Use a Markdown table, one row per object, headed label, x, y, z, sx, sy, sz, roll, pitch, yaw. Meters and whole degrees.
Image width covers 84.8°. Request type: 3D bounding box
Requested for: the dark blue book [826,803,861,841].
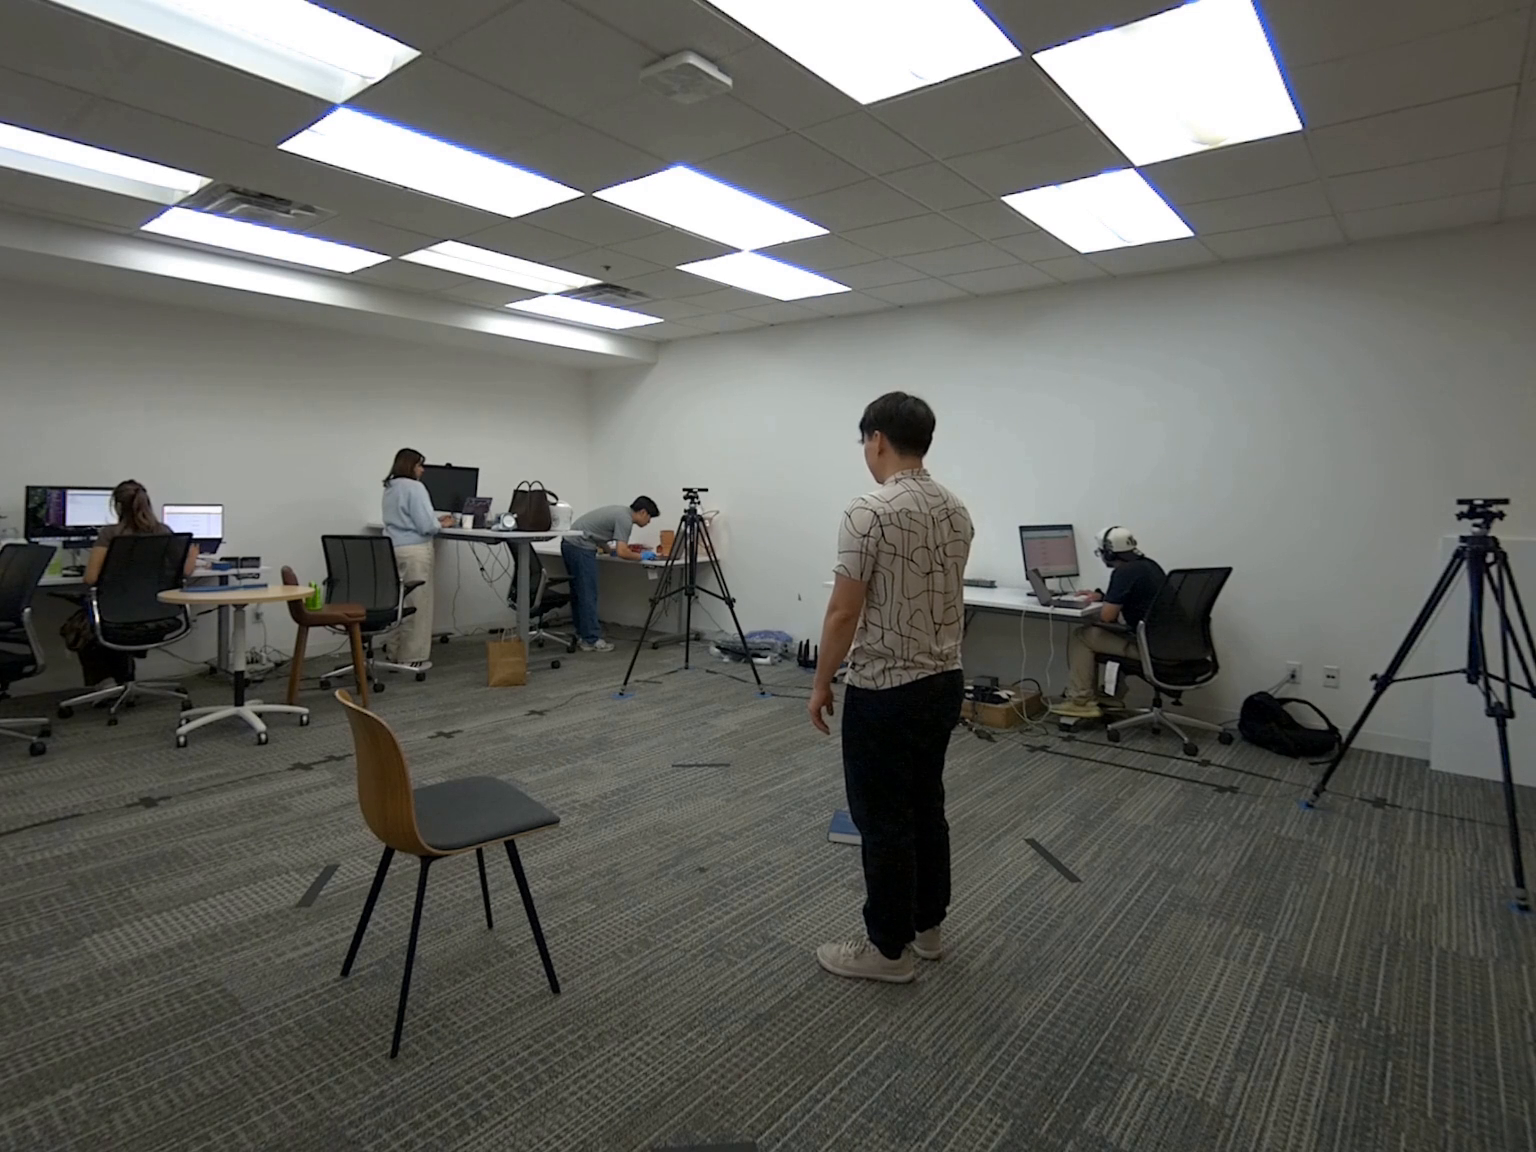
| label | x | y | z | sx | sy | sz | roll | pitch | yaw |
| --- | --- | --- | --- | --- | --- | --- | --- | --- | --- |
| dark blue book | 0.336 | 1.014 | 3.472 | 0.166 | 0.045 | 0.242 | 3 | 5 | 12 |
